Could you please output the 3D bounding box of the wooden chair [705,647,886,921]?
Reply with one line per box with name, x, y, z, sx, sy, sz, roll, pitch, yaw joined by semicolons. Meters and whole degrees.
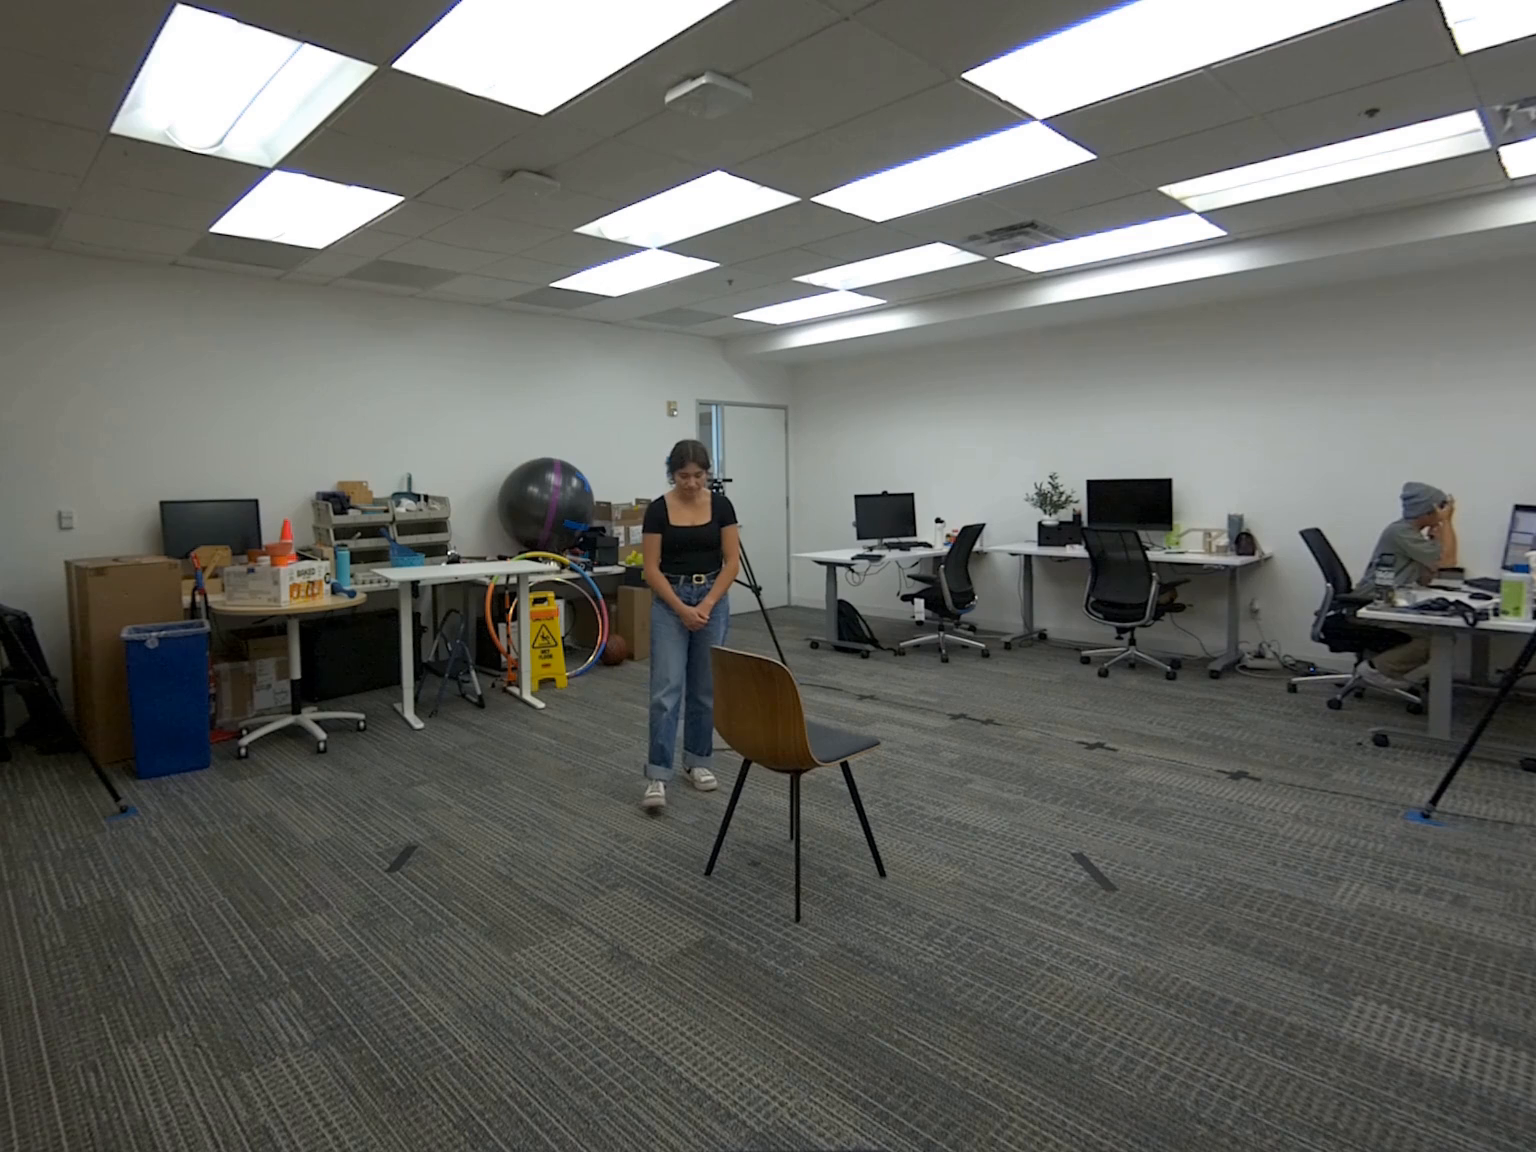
wooden chair;0.097;0.633;2.972;0.511;0.871;0.493;-11;10;-43
